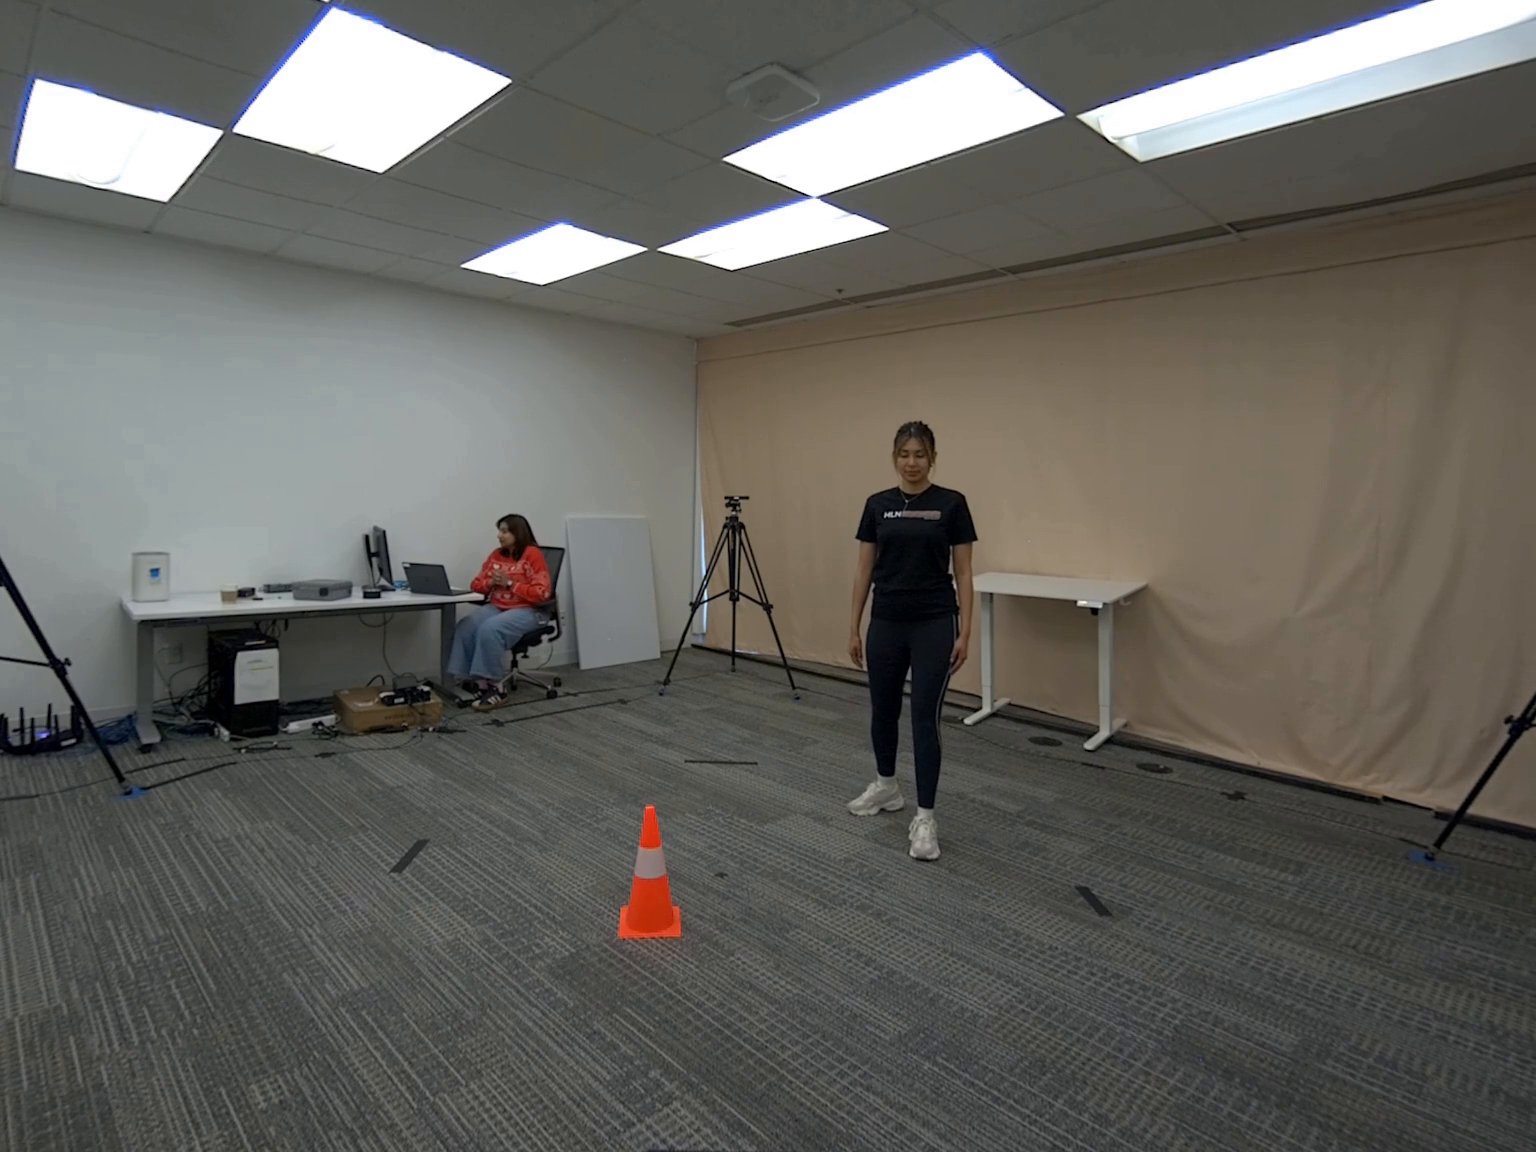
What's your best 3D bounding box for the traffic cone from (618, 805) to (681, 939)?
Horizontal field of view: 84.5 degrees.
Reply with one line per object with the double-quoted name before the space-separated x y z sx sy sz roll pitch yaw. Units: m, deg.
"traffic cone" -0.384 0.946 2.735 0.204 0.383 0.205 2 4 -7
